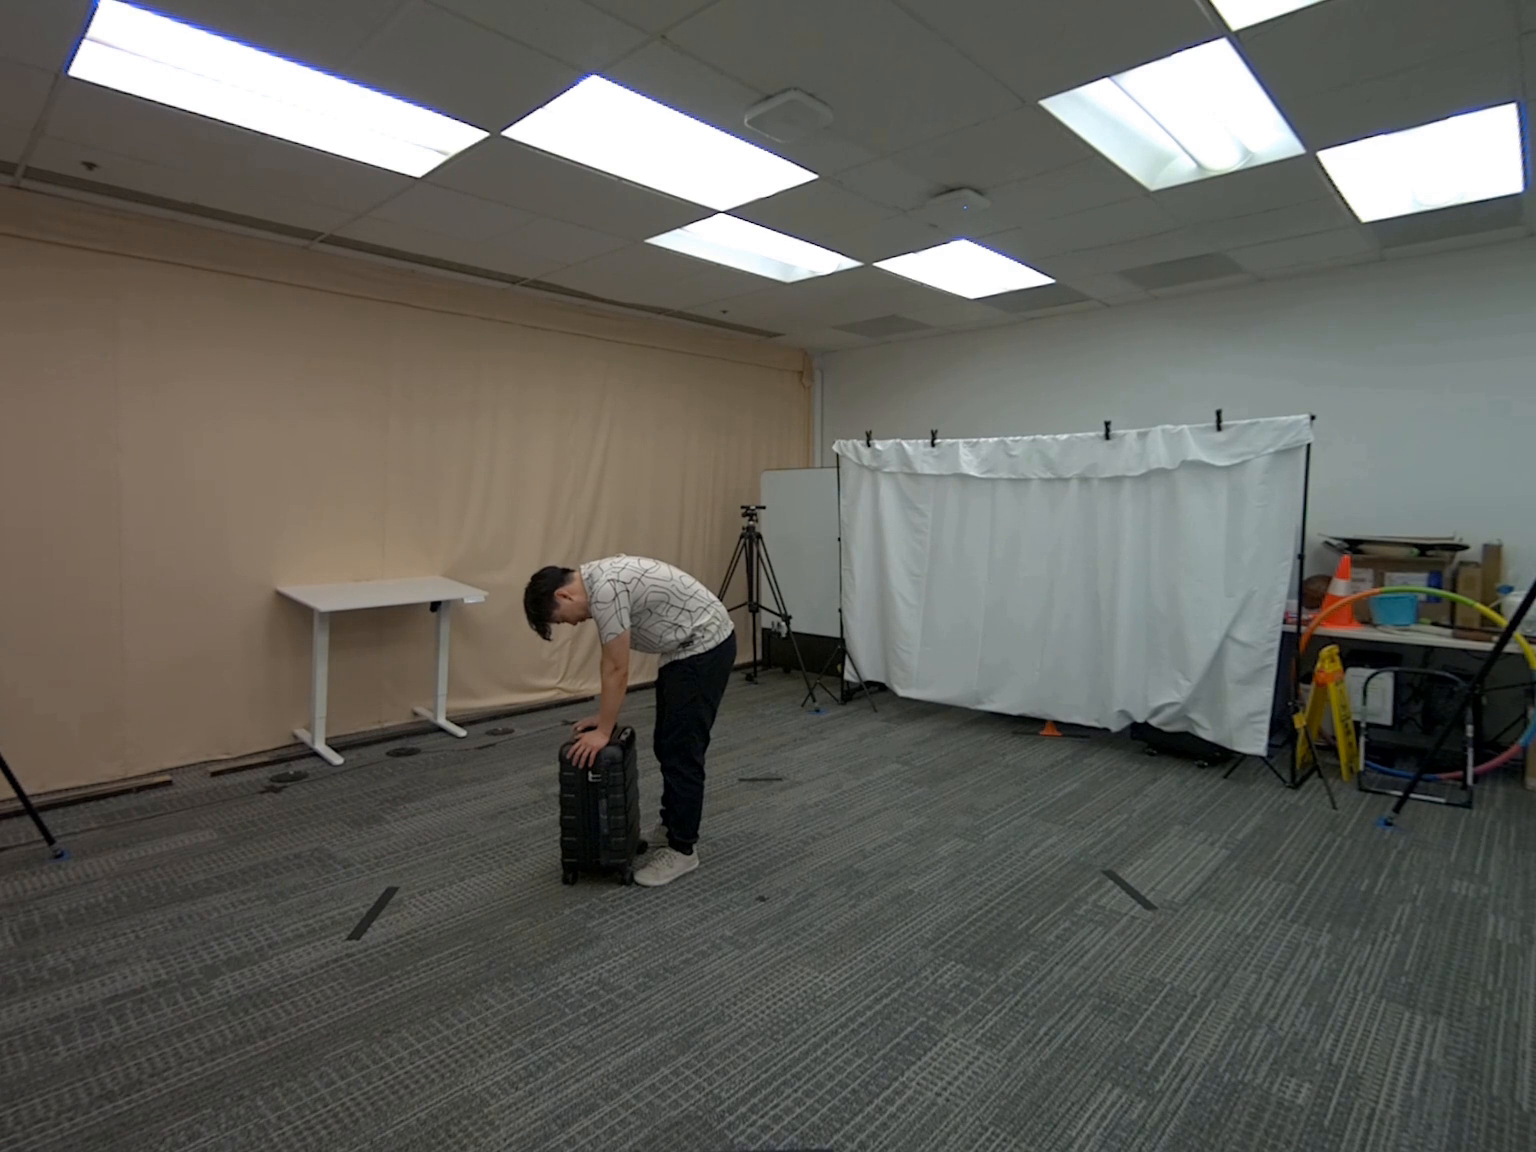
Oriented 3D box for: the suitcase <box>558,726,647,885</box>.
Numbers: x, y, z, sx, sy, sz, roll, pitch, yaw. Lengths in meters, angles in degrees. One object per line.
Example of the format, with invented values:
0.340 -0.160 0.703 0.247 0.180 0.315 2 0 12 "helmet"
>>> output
-0.643 0.856 3.224 0.249 0.548 0.375 -2 4 1 "suitcase"
